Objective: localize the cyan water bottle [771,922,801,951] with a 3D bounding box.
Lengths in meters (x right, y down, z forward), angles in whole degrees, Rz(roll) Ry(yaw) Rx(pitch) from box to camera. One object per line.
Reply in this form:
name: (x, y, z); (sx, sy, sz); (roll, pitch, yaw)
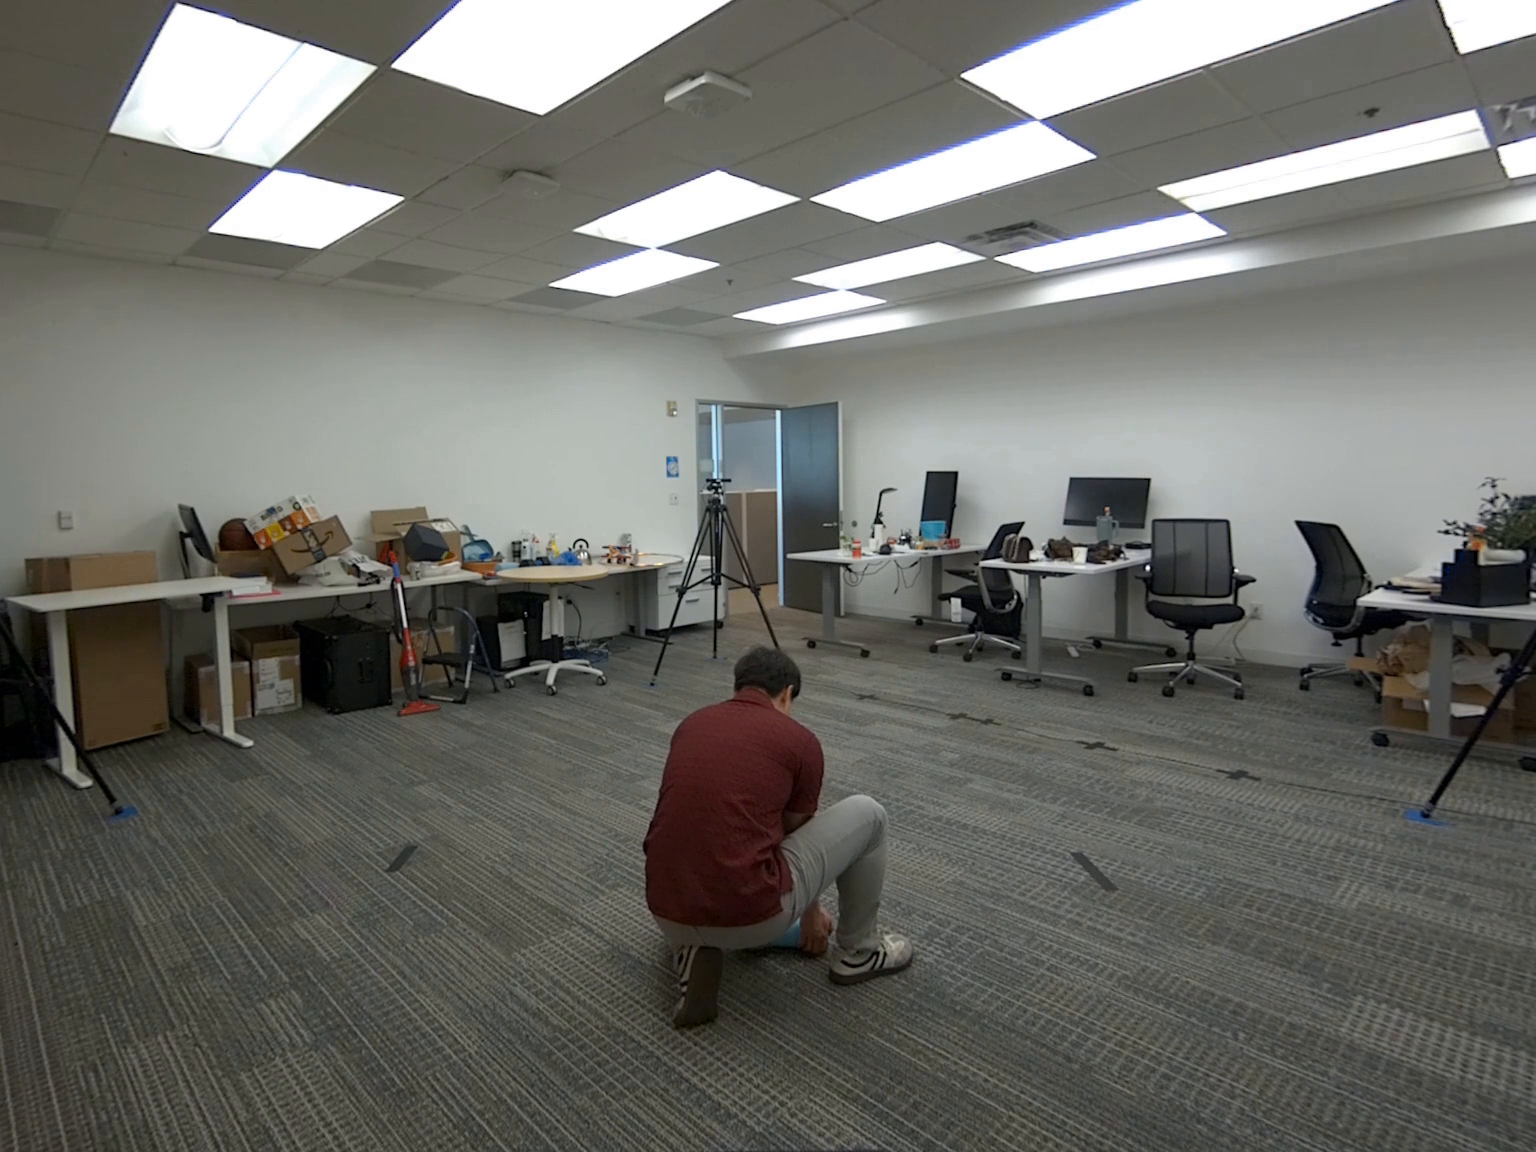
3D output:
cyan water bottle: (0.051, 1.063, 2.550); (0.285, 0.092, 0.092); (-1, 5, 5)
